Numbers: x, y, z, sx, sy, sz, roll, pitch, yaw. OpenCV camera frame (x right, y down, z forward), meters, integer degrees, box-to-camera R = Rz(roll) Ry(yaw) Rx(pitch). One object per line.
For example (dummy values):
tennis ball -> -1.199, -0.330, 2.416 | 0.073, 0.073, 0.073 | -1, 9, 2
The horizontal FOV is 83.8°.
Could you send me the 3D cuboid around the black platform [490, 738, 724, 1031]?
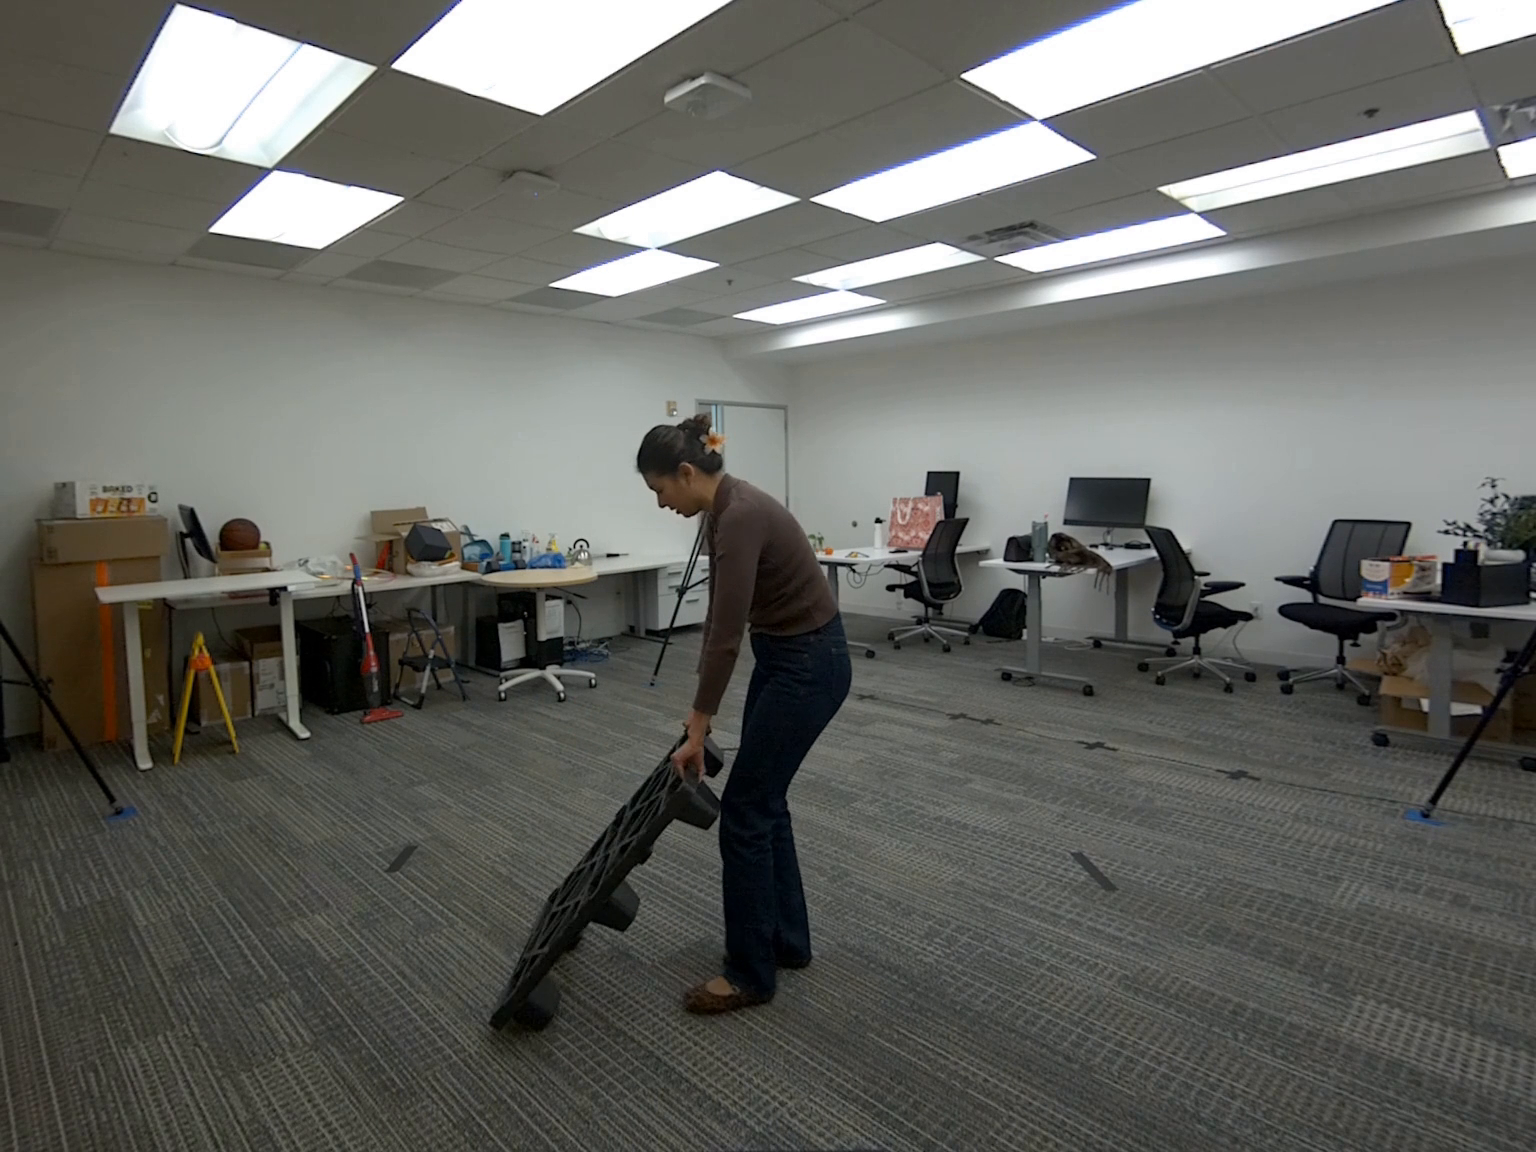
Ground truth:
black platform -> -0.405, 0.810, 2.372 | 0.143, 0.805, 0.608 | 37, 5, -5
